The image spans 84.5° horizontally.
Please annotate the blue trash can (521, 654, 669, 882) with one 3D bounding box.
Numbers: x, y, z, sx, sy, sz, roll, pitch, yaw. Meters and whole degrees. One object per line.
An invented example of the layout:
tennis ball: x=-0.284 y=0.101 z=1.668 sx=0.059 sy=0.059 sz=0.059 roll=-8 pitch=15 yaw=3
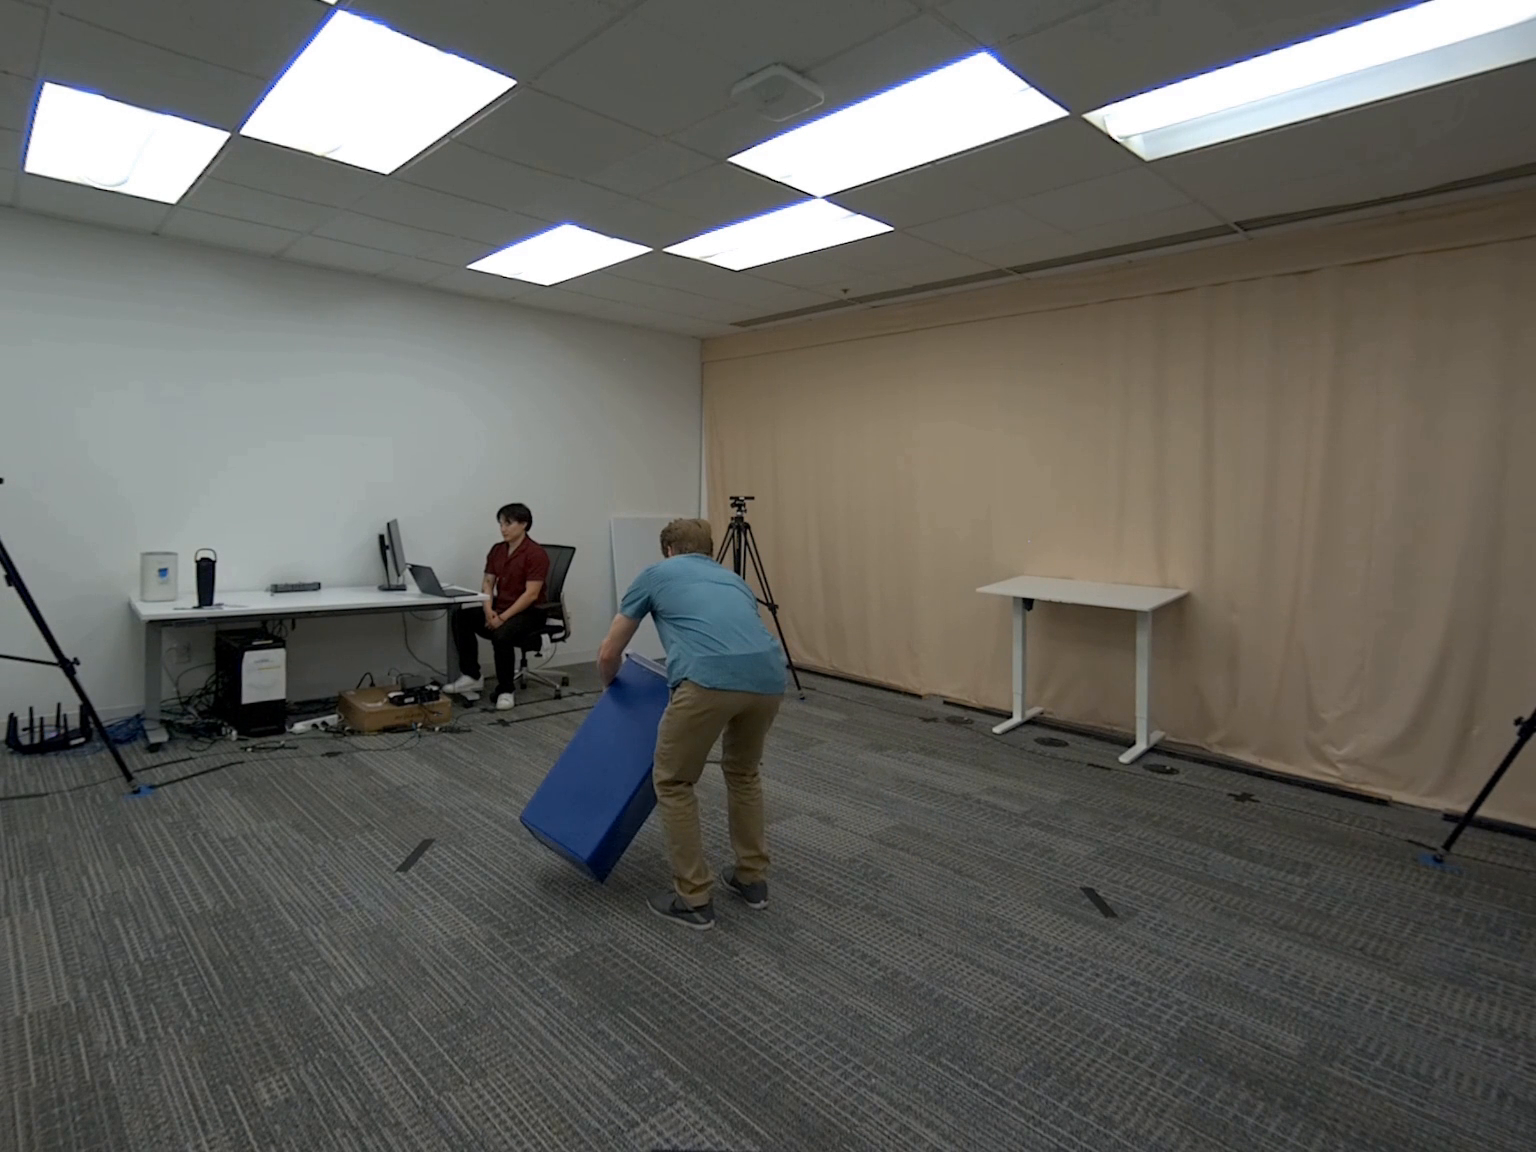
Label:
blue trash can: x=-0.556 y=0.705 z=3.116 sx=0.381 sy=0.716 sz=0.369 roll=24 pitch=-28 yaw=18
